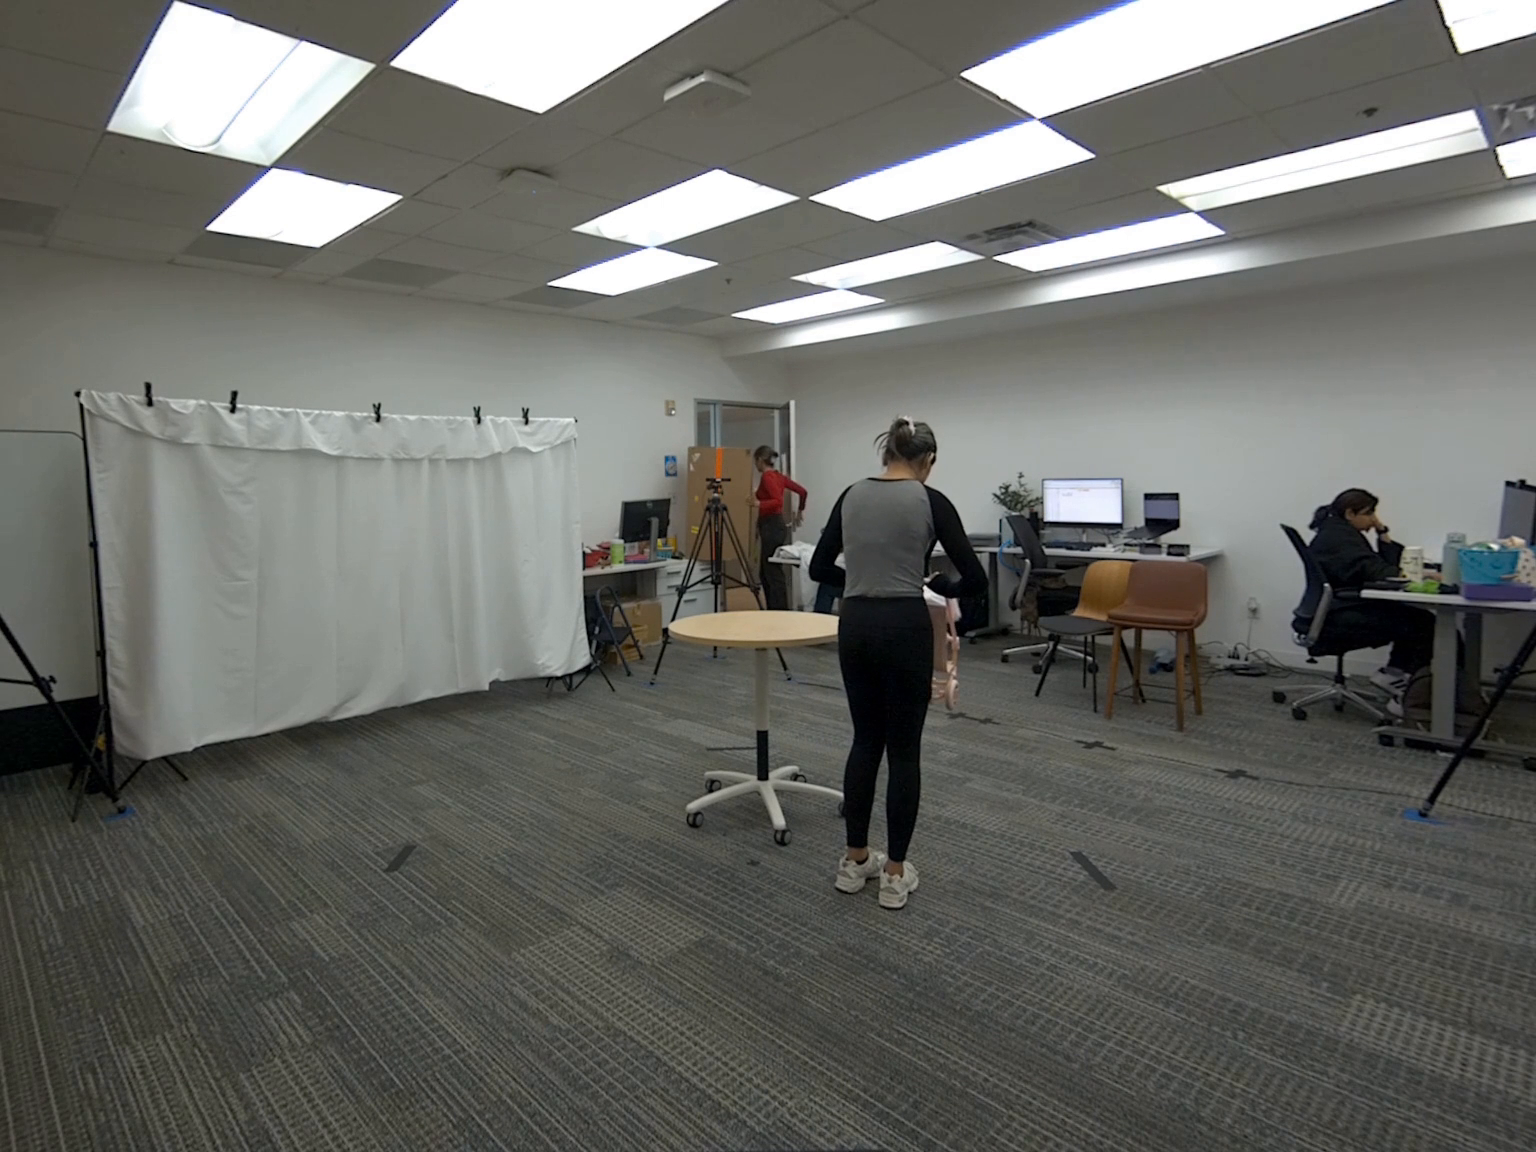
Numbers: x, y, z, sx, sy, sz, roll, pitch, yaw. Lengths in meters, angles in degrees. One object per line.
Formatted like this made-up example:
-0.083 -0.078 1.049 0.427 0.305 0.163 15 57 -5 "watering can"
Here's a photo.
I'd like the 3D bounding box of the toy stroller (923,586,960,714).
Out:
0.596 0.254 3.179 0.289 0.532 0.334 4 7 30 "toy stroller"
